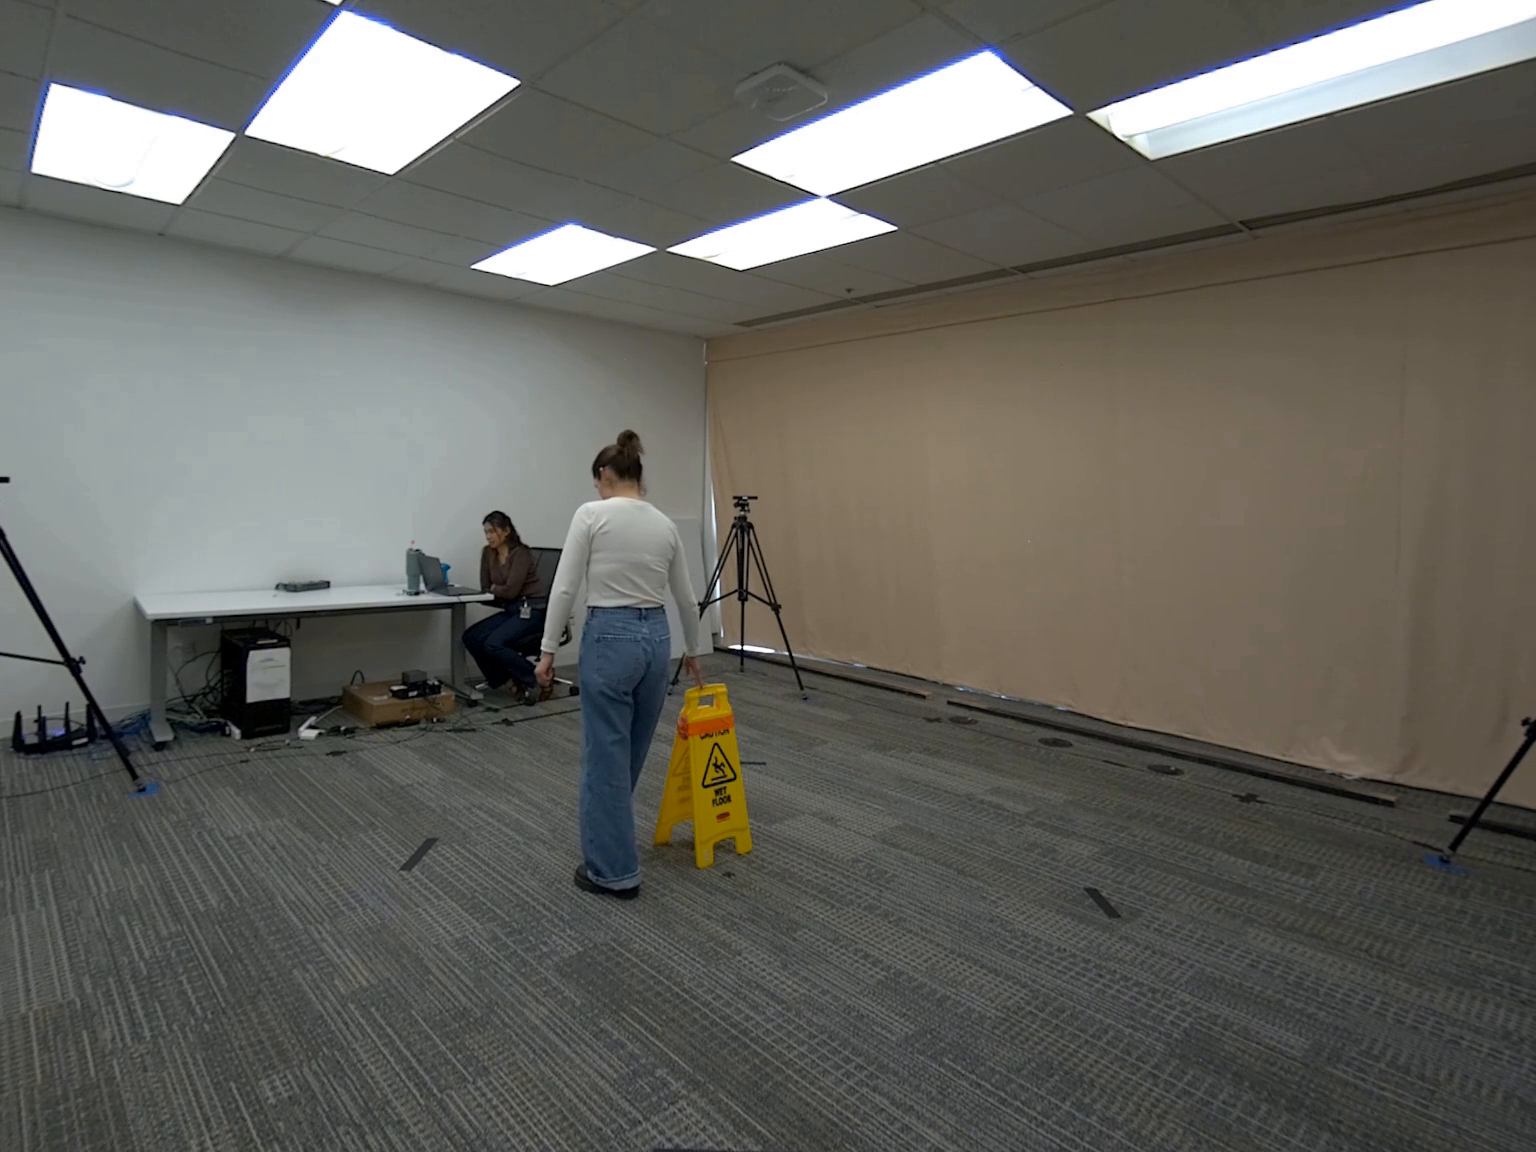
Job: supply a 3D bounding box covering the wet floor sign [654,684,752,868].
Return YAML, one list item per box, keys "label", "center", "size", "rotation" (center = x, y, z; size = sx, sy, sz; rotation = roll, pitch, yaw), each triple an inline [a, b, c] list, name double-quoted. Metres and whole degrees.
- label: "wet floor sign"
  center: [-0.259, 0.756, 3.326]
  size: [0.276, 0.645, 0.297]
  rotation: [-1, 3, -44]
